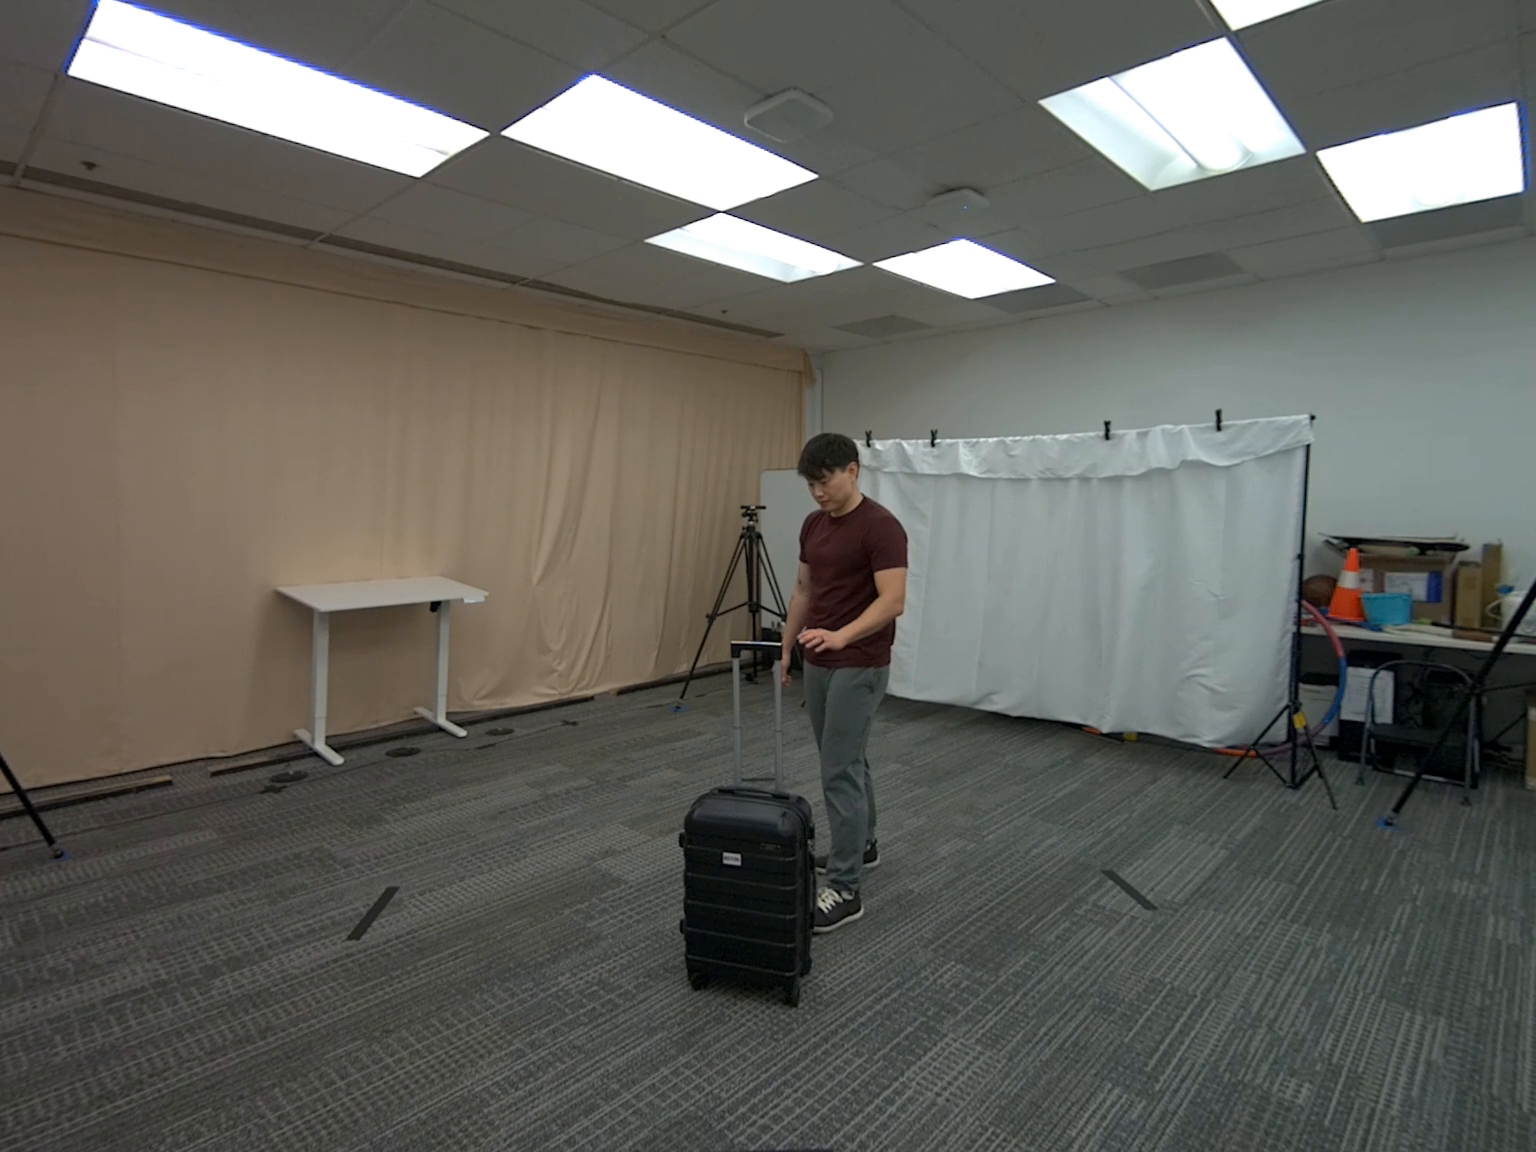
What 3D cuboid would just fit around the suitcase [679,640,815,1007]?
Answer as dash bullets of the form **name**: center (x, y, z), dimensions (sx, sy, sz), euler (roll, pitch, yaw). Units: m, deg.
- **suitcase**: center (-0.052, 0.711, 2.444), dimensions (0.391, 0.975, 0.253), euler (1, 6, 16)
